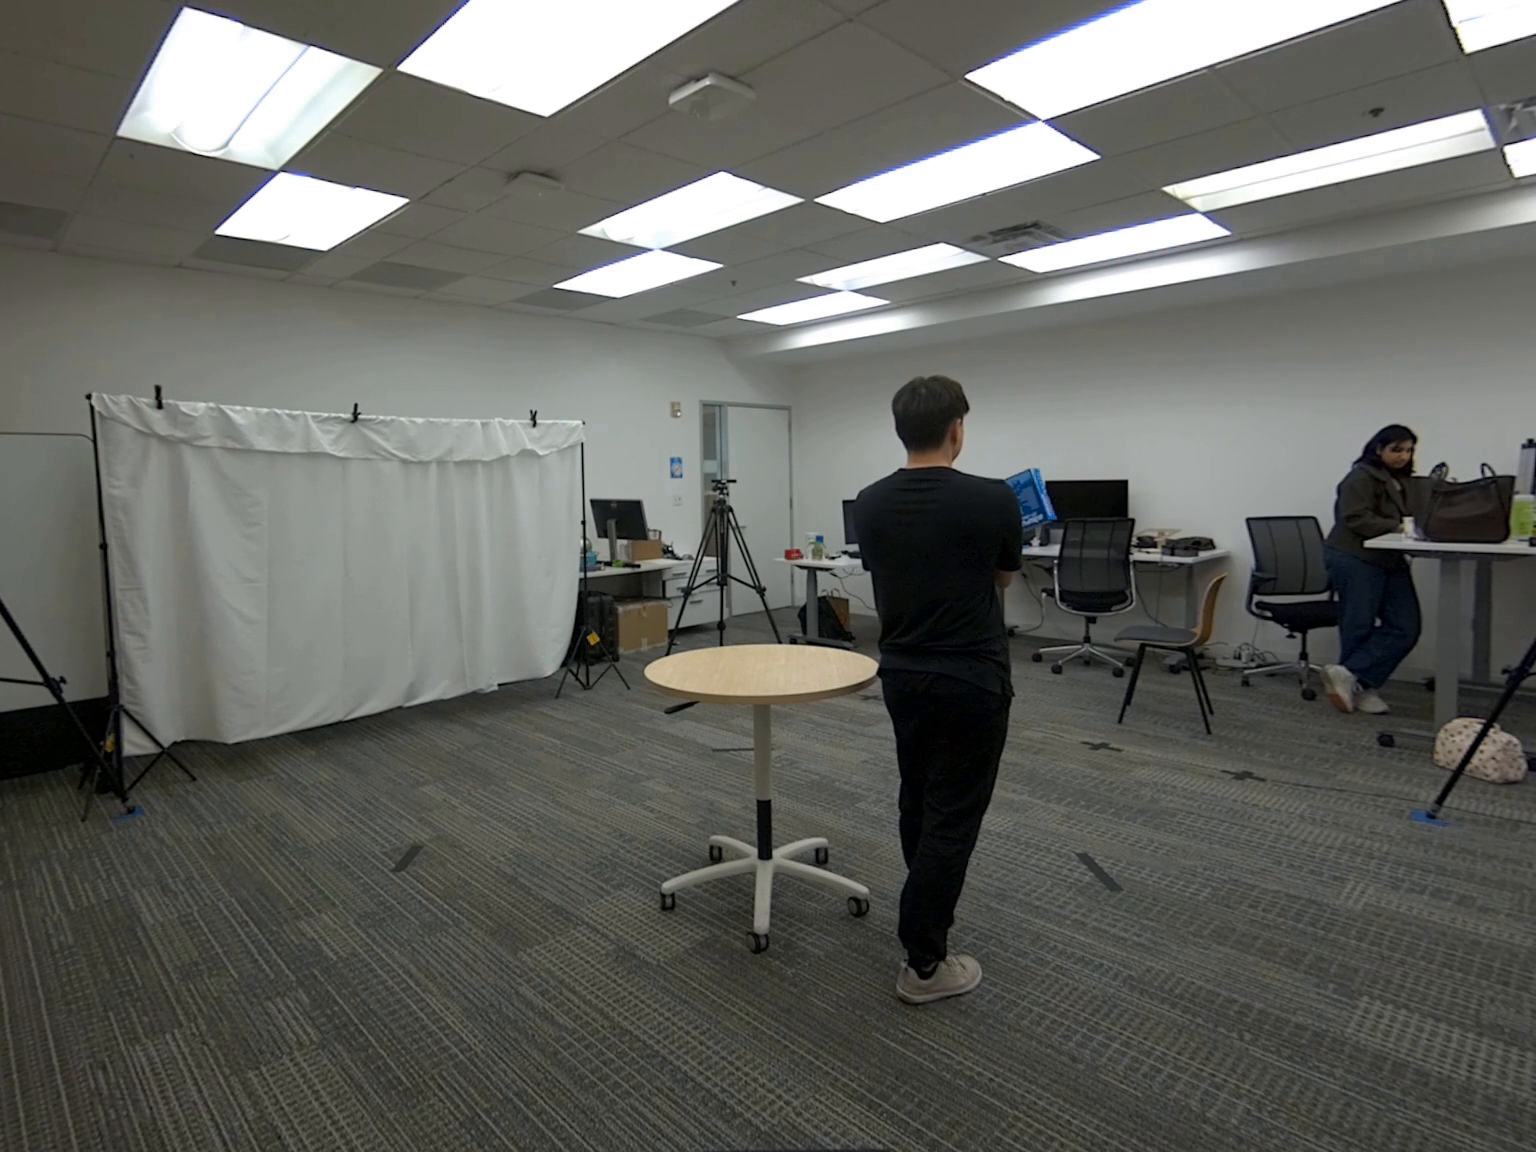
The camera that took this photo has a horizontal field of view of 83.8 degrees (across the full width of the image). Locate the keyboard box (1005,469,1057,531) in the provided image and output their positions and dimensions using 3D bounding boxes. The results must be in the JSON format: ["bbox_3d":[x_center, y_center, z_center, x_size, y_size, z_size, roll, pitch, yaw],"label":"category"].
[{"bbox_3d":[0.708,-0.192,2.780,0.057,0.178,0.443,0,-18,-46],"label":"keyboard box"}]
